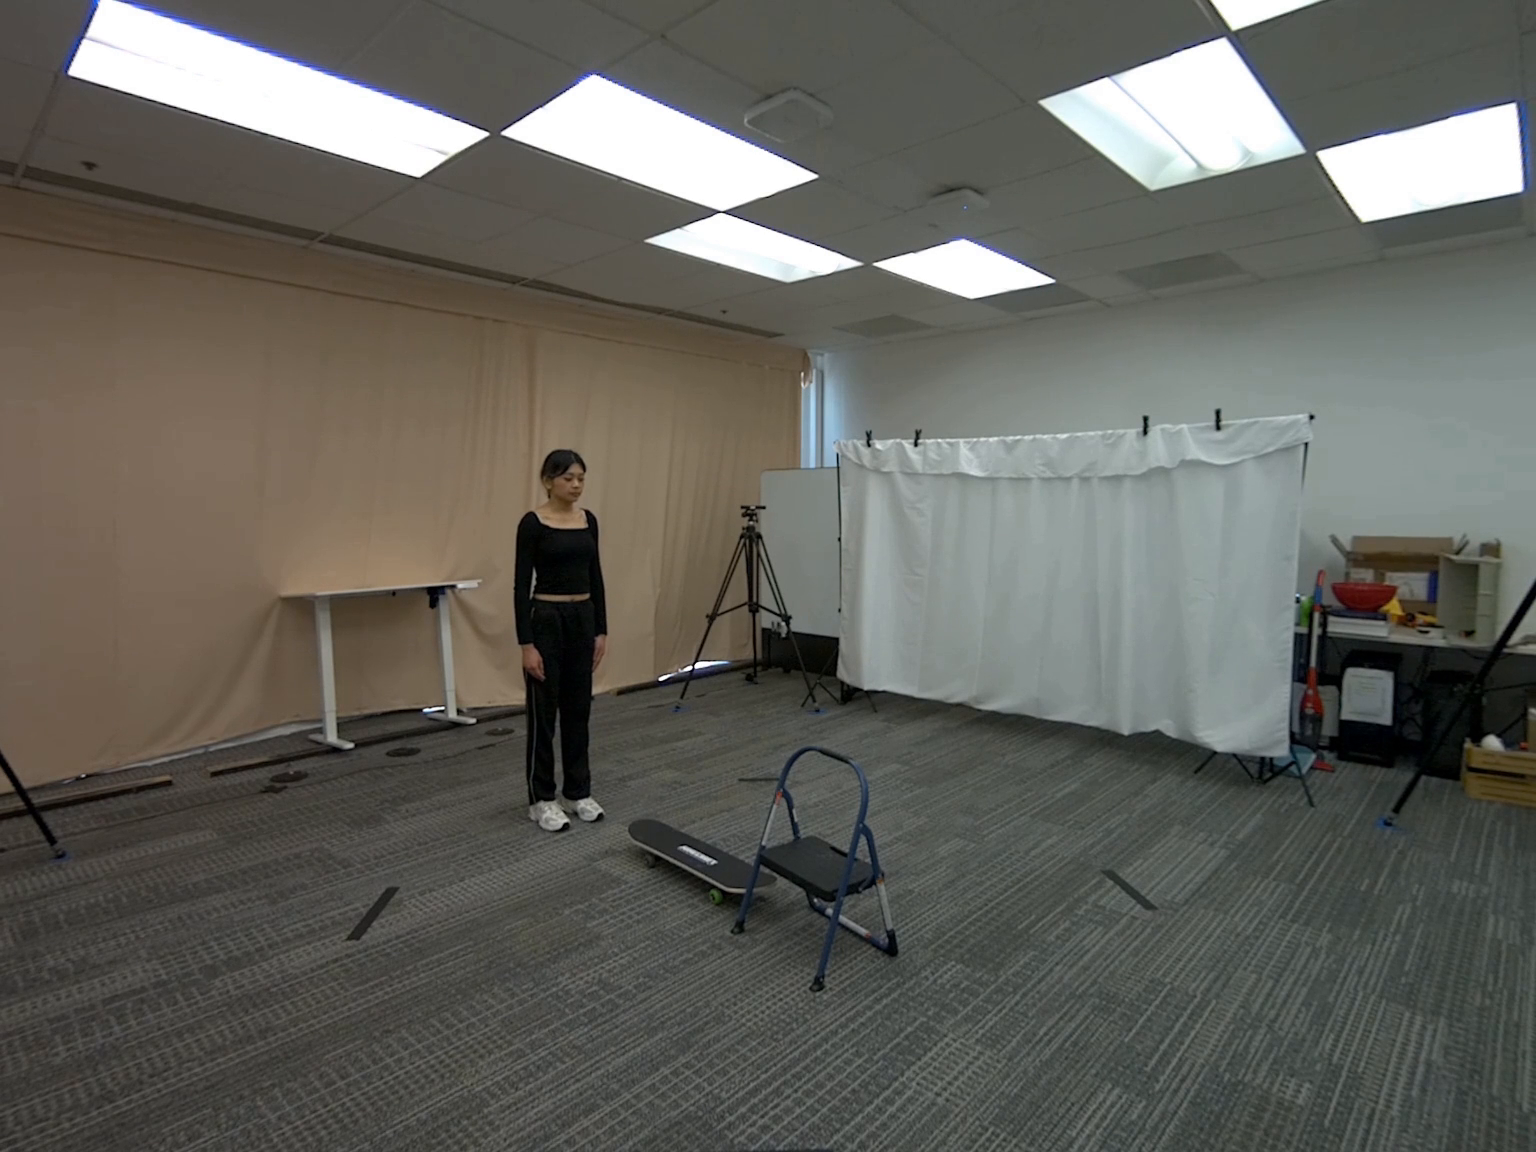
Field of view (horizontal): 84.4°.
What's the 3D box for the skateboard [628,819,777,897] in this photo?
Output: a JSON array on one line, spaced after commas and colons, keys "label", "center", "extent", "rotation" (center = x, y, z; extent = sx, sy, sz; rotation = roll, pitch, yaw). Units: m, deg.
[{"label": "skateboard", "center": [-0.266, 1.076, 3.147], "extent": [0.187, 0.110, 0.812], "rotation": [-3, 5, -42]}]
